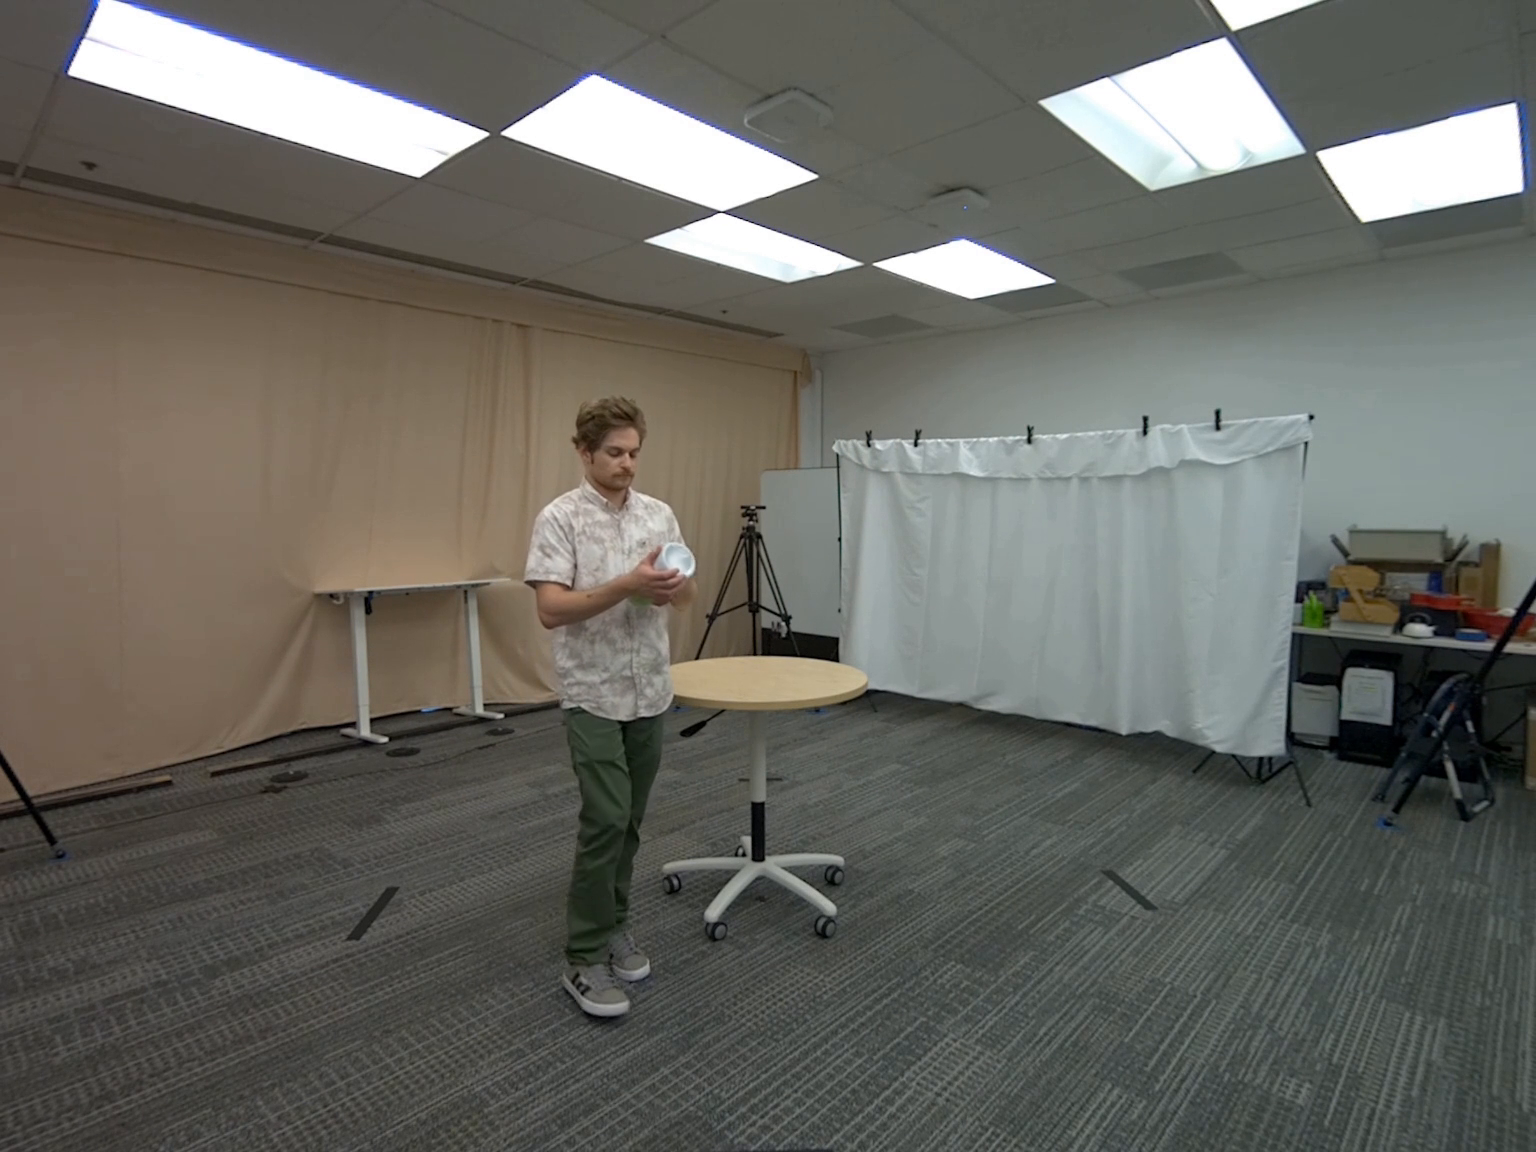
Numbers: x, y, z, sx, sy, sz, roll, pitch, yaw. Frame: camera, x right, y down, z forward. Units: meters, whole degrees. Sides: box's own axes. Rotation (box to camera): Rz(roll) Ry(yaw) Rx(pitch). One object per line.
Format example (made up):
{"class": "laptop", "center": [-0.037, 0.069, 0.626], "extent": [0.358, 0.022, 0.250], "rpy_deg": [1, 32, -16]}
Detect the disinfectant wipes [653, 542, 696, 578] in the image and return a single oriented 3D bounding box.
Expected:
{"class": "disinfectant wipes", "center": [-0.307, -0.004, 2.302], "extent": [0.221, 0.119, 0.114], "rpy_deg": [-30, -17, 39]}
